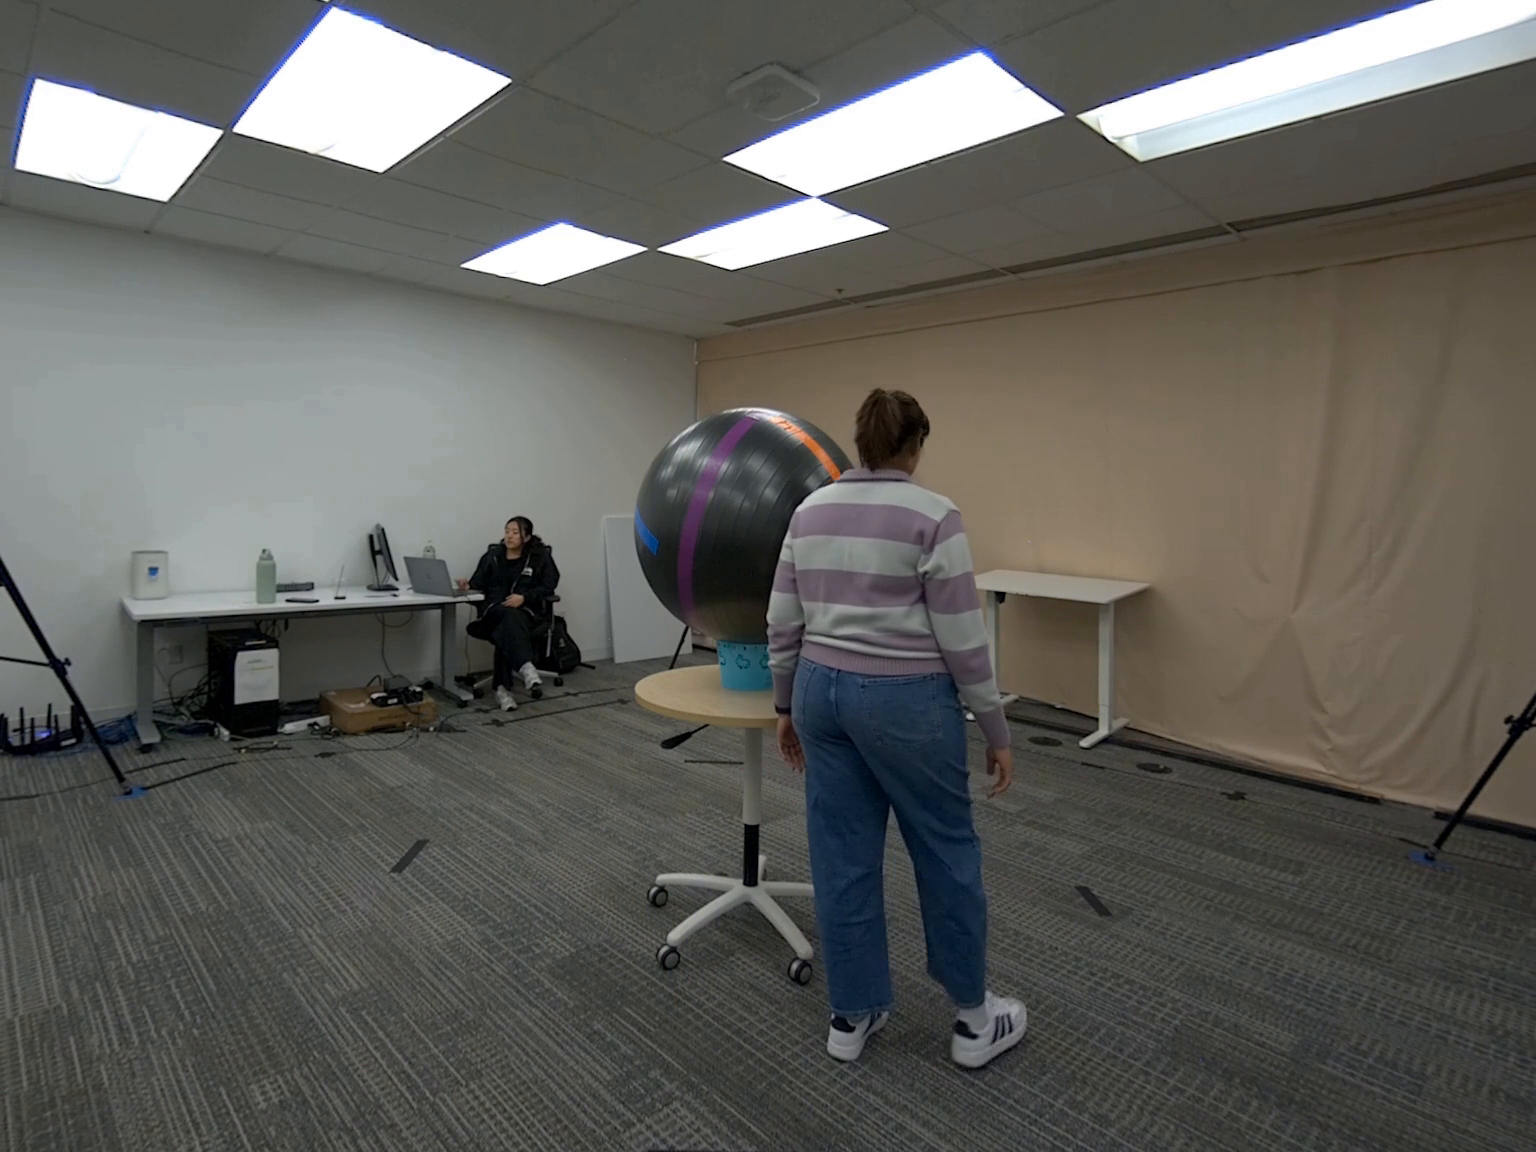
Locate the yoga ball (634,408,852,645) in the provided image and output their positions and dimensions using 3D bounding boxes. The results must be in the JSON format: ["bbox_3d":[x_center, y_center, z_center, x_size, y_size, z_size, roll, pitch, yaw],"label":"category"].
[{"bbox_3d":[-0.051,-0.154,2.713,0.757,0.756,0.761,1,4,-1],"label":"yoga ball"}]
